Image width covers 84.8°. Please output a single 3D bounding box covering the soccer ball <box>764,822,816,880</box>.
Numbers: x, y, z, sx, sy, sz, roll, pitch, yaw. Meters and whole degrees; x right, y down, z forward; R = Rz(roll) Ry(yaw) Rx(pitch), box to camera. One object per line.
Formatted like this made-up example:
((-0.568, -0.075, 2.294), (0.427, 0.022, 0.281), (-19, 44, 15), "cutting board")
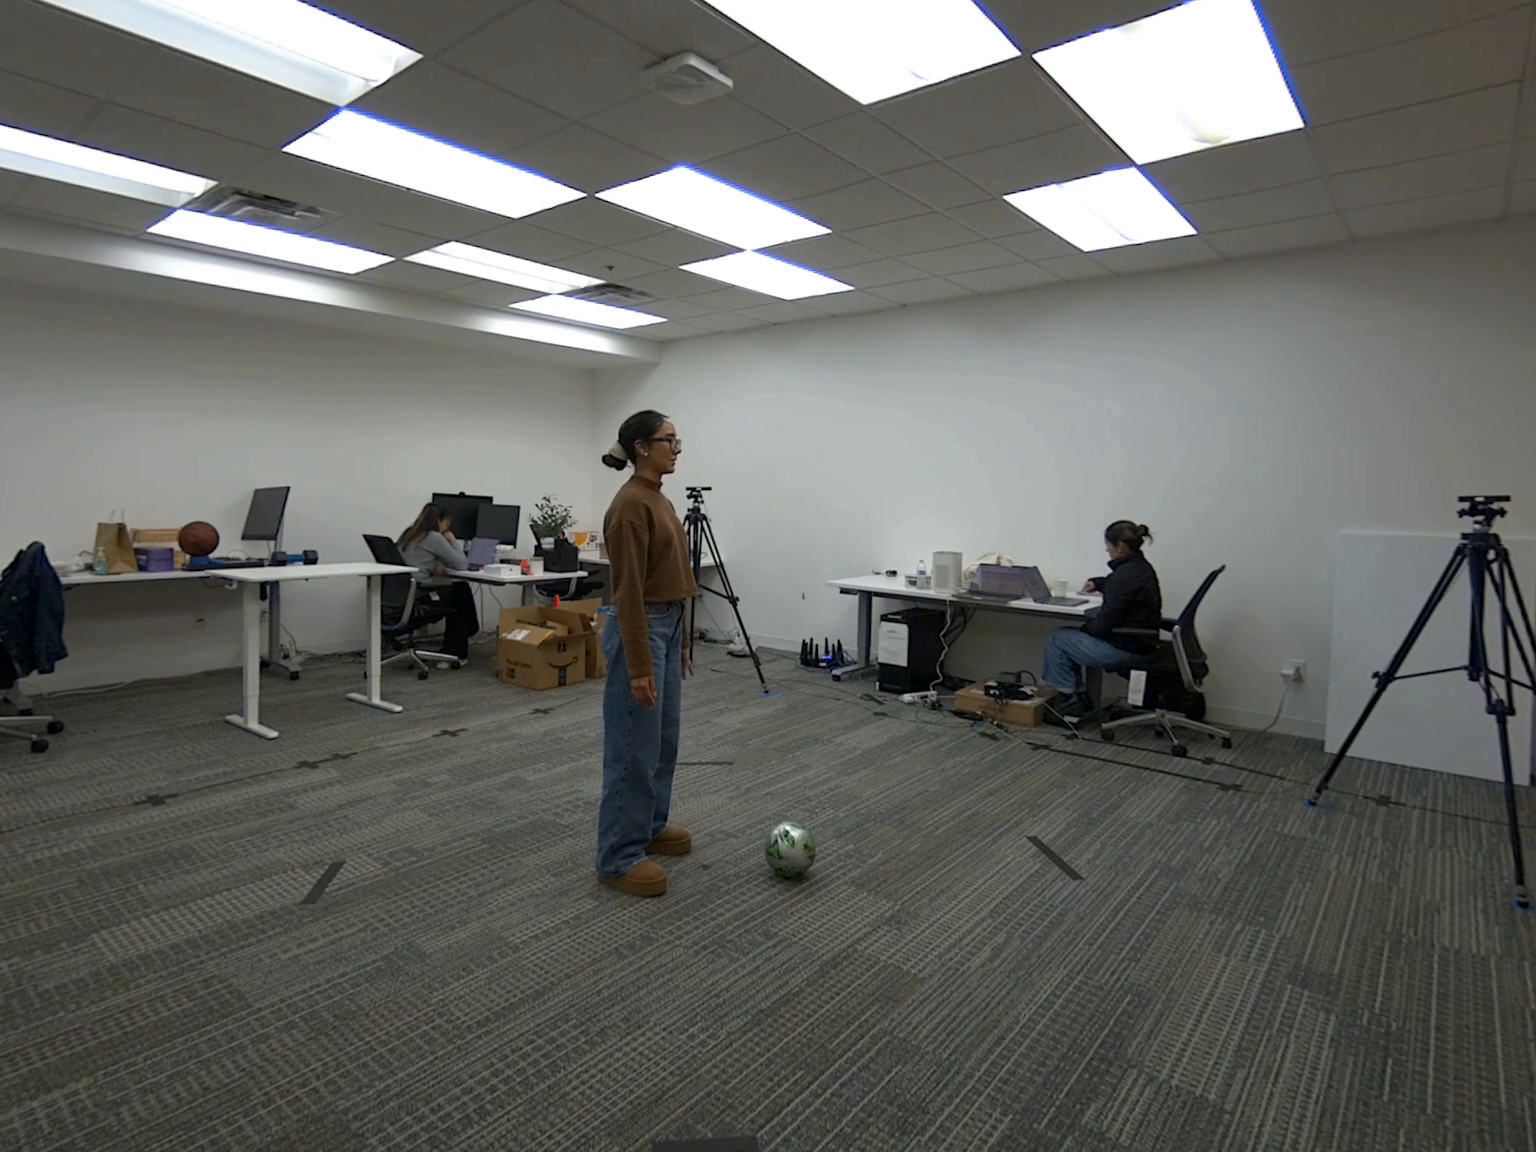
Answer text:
((0.071, 0.984, 3.061), (0.187, 0.187, 0.188), (1, 4, -2), "soccer ball")
